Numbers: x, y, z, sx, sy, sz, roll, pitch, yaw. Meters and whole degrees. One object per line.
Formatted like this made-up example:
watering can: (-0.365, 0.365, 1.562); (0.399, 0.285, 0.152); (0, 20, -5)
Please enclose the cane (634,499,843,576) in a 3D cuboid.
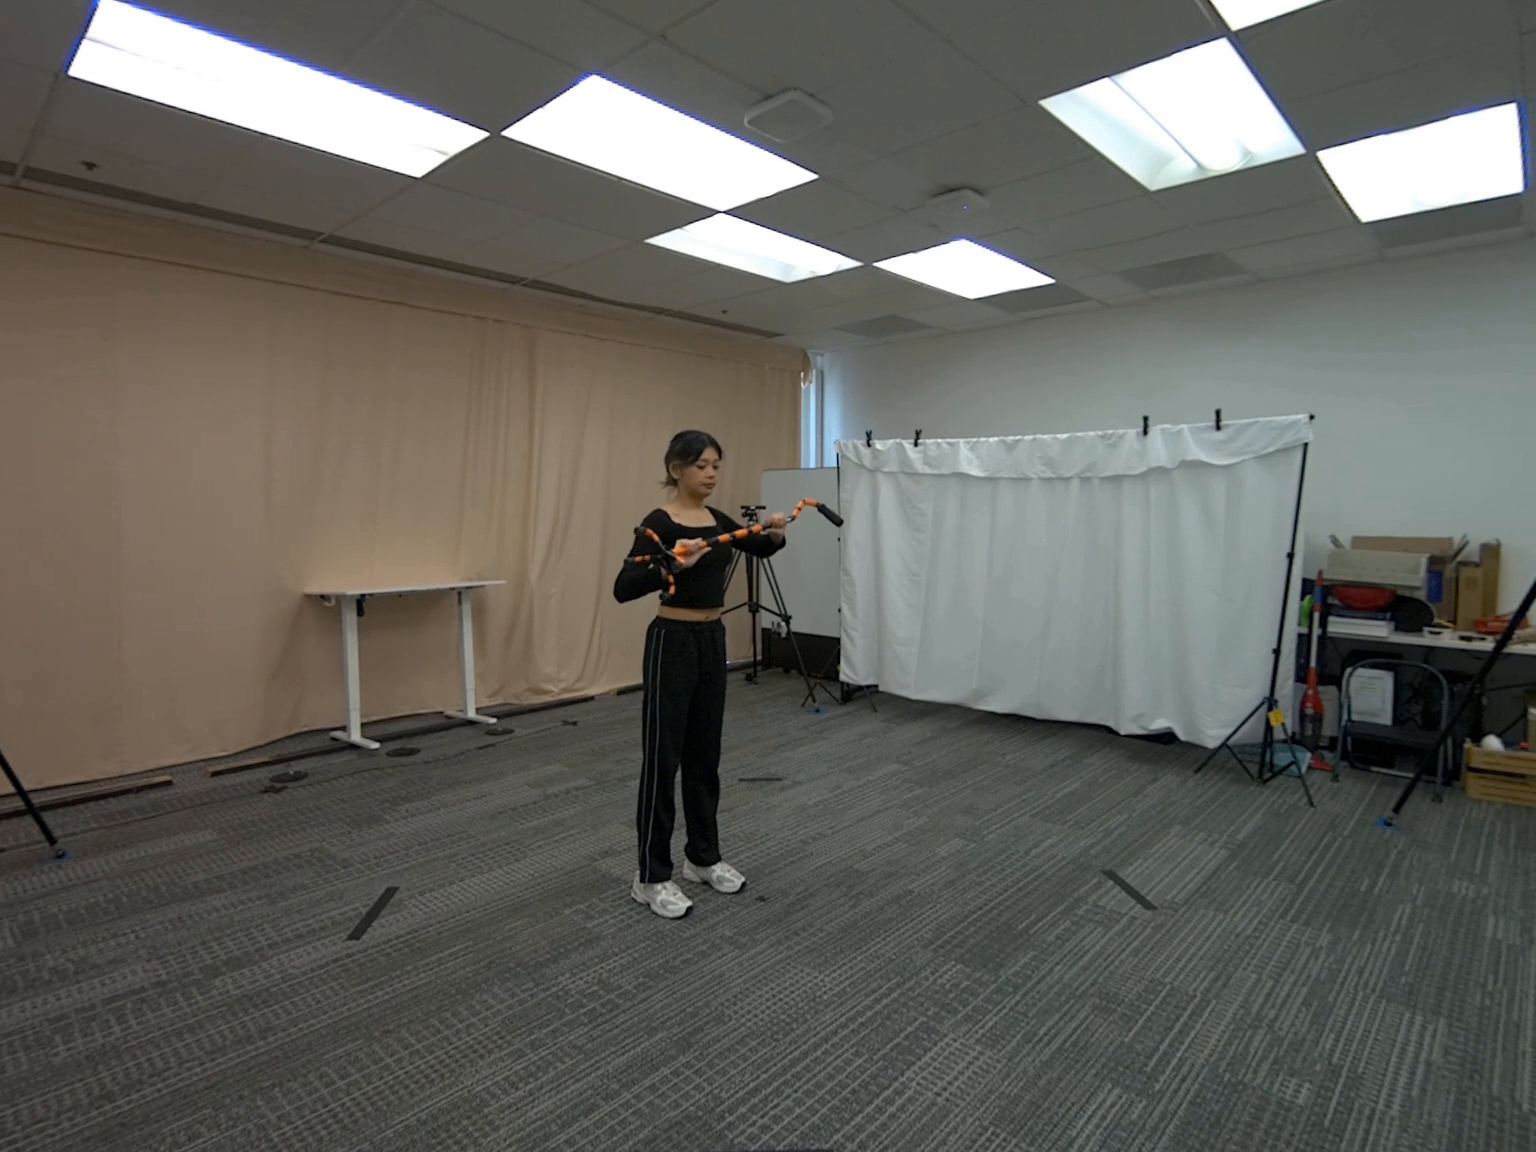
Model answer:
cane: (-0.068, -0.140, 2.876); (0.212, 0.151, 0.886); (41, 38, 25)
